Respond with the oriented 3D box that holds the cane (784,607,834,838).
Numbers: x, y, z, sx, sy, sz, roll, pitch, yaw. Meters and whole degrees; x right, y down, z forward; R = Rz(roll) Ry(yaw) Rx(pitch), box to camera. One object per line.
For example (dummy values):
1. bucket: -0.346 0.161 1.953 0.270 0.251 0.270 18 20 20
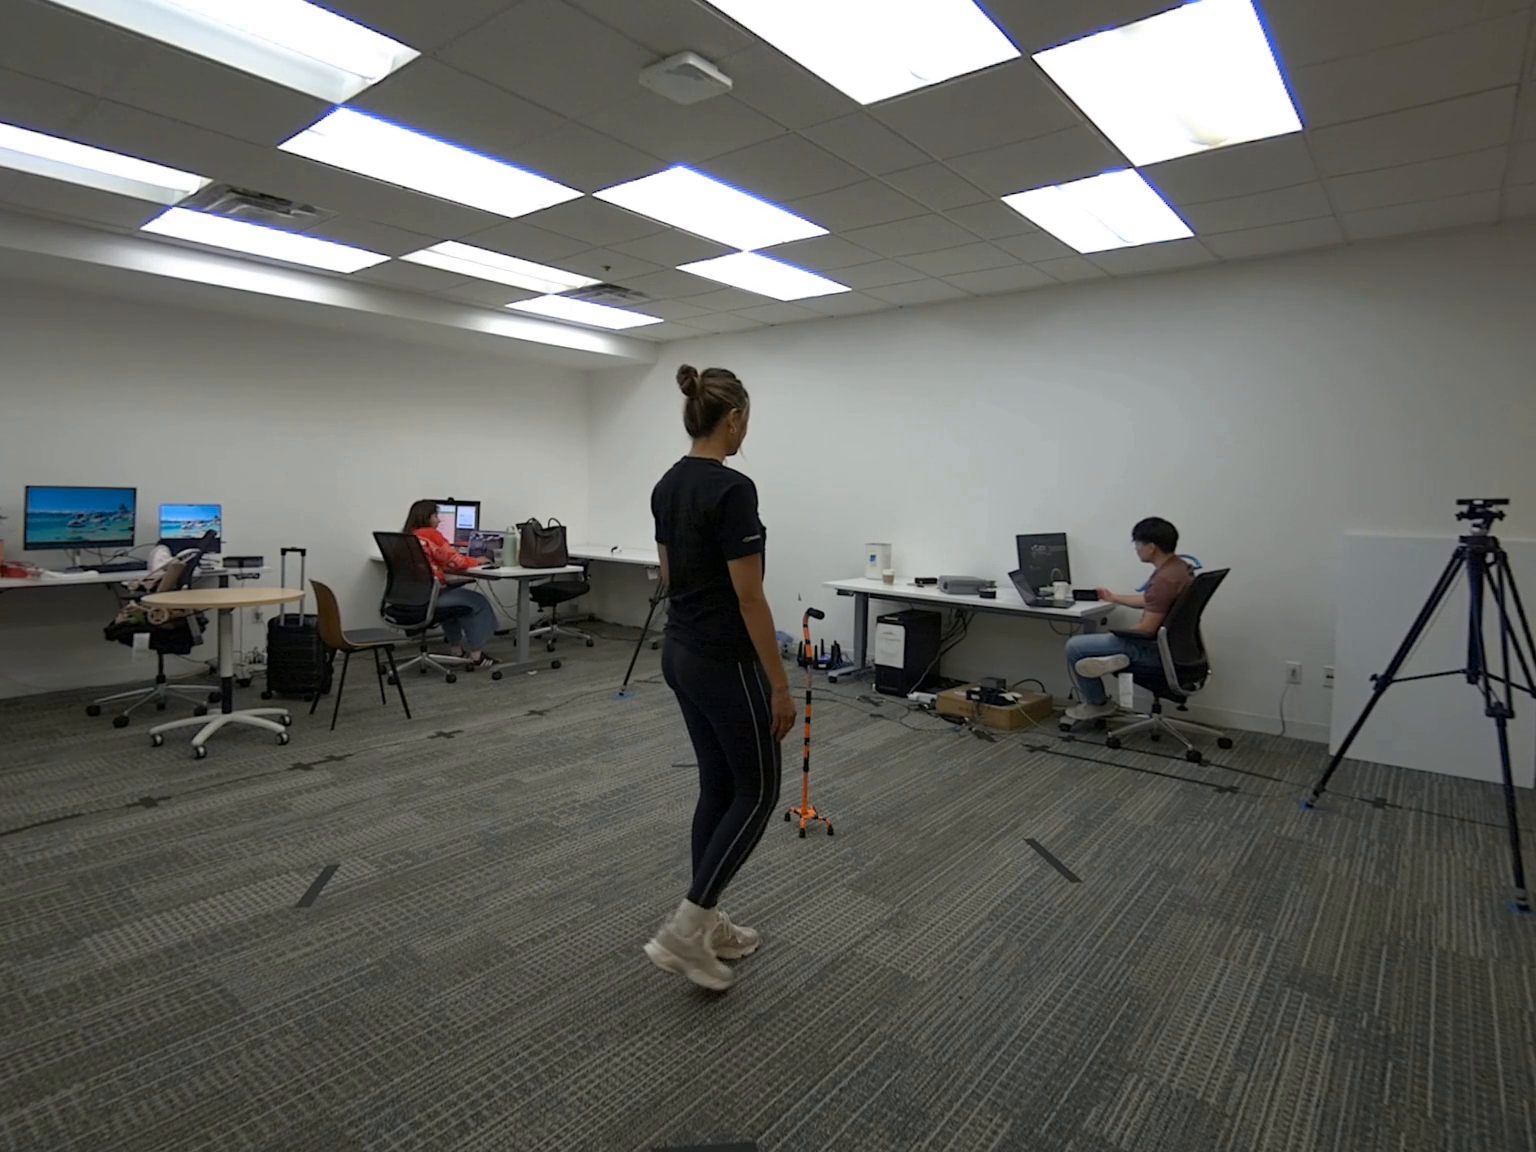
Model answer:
1. cane: 0.172 0.582 3.501 0.149 0.905 0.211 0 3 -18
